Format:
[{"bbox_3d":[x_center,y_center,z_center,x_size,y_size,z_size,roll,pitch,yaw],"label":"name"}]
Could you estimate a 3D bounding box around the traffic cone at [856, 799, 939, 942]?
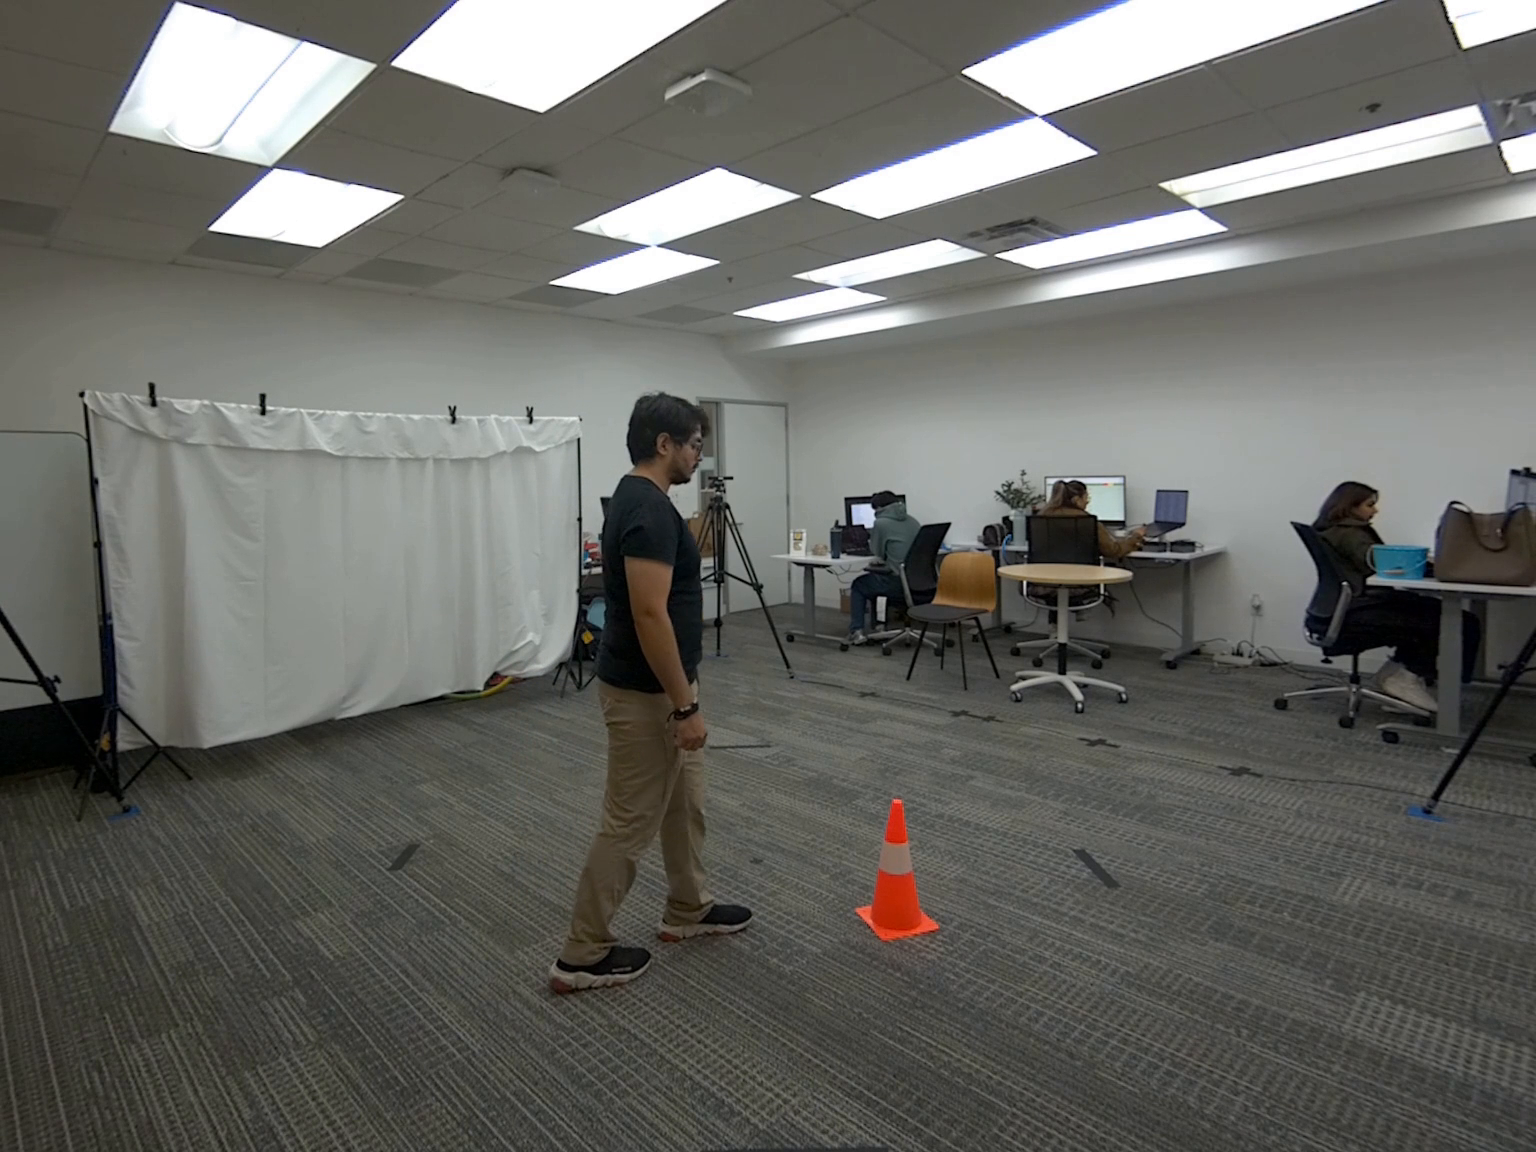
[{"bbox_3d":[0.406,0.890,2.677,0.200,0.383,0.208,-1,2,-16],"label":"traffic cone"}]
